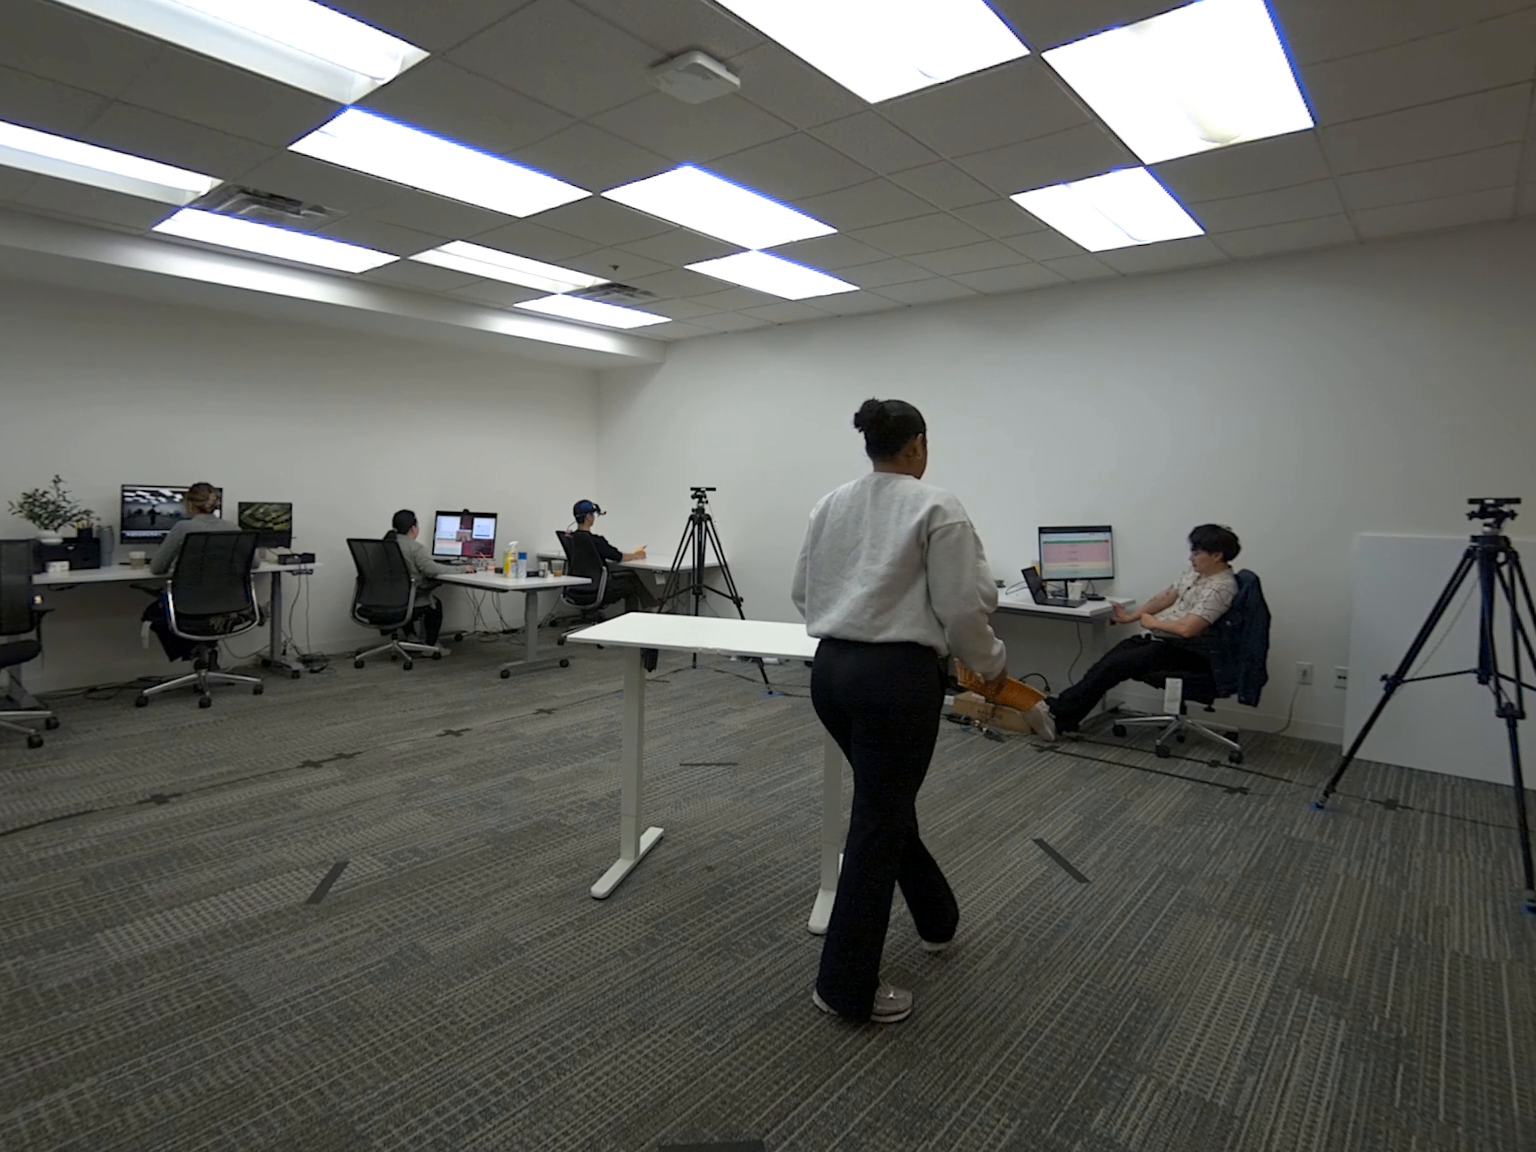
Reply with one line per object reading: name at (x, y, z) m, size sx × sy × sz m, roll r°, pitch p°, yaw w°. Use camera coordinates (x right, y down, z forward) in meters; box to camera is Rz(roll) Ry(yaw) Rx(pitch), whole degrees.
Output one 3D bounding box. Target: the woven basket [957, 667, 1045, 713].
woven basket at (0.672, 0.335, 2.545) m, size 0.337 × 0.073 × 0.262 m, roll 22°, pitch -5°, yaw -40°
